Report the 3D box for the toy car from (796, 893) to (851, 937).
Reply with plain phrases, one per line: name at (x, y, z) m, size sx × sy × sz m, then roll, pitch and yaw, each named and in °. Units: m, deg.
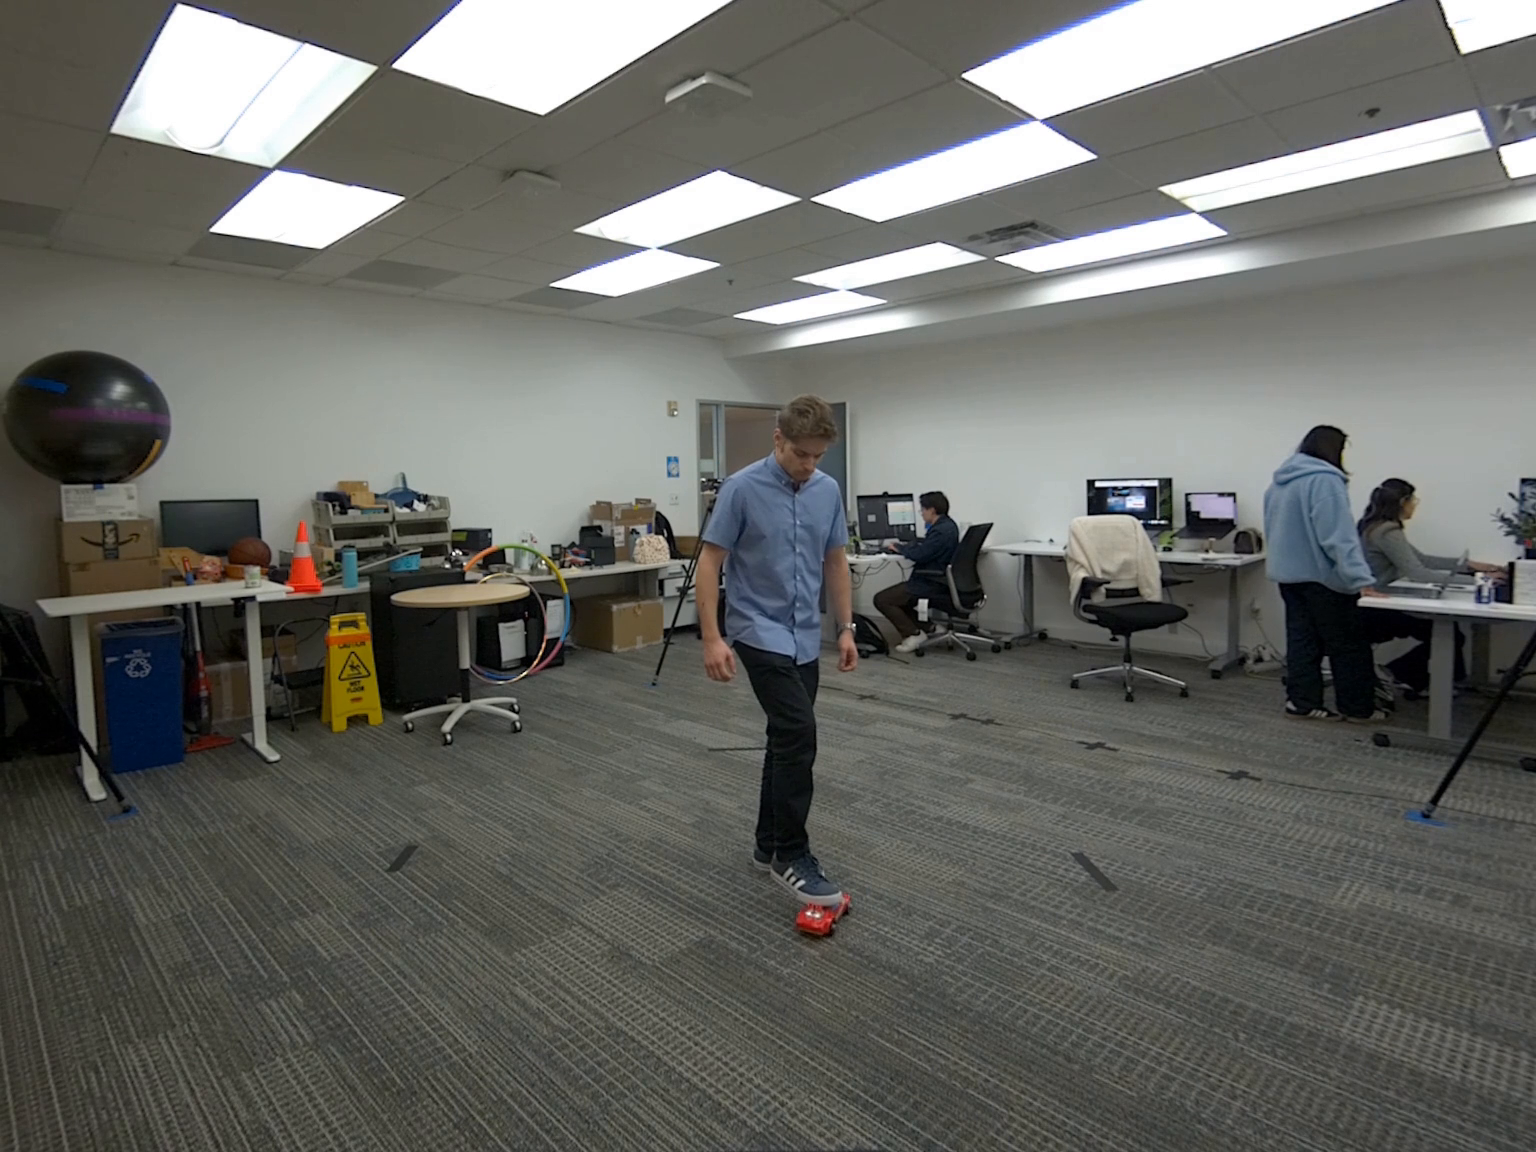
toy car at (0.169, 1.063, 2.672) m, size 0.134 × 0.083 × 0.247 m, roll 2°, pitch -4°, yaw 28°
